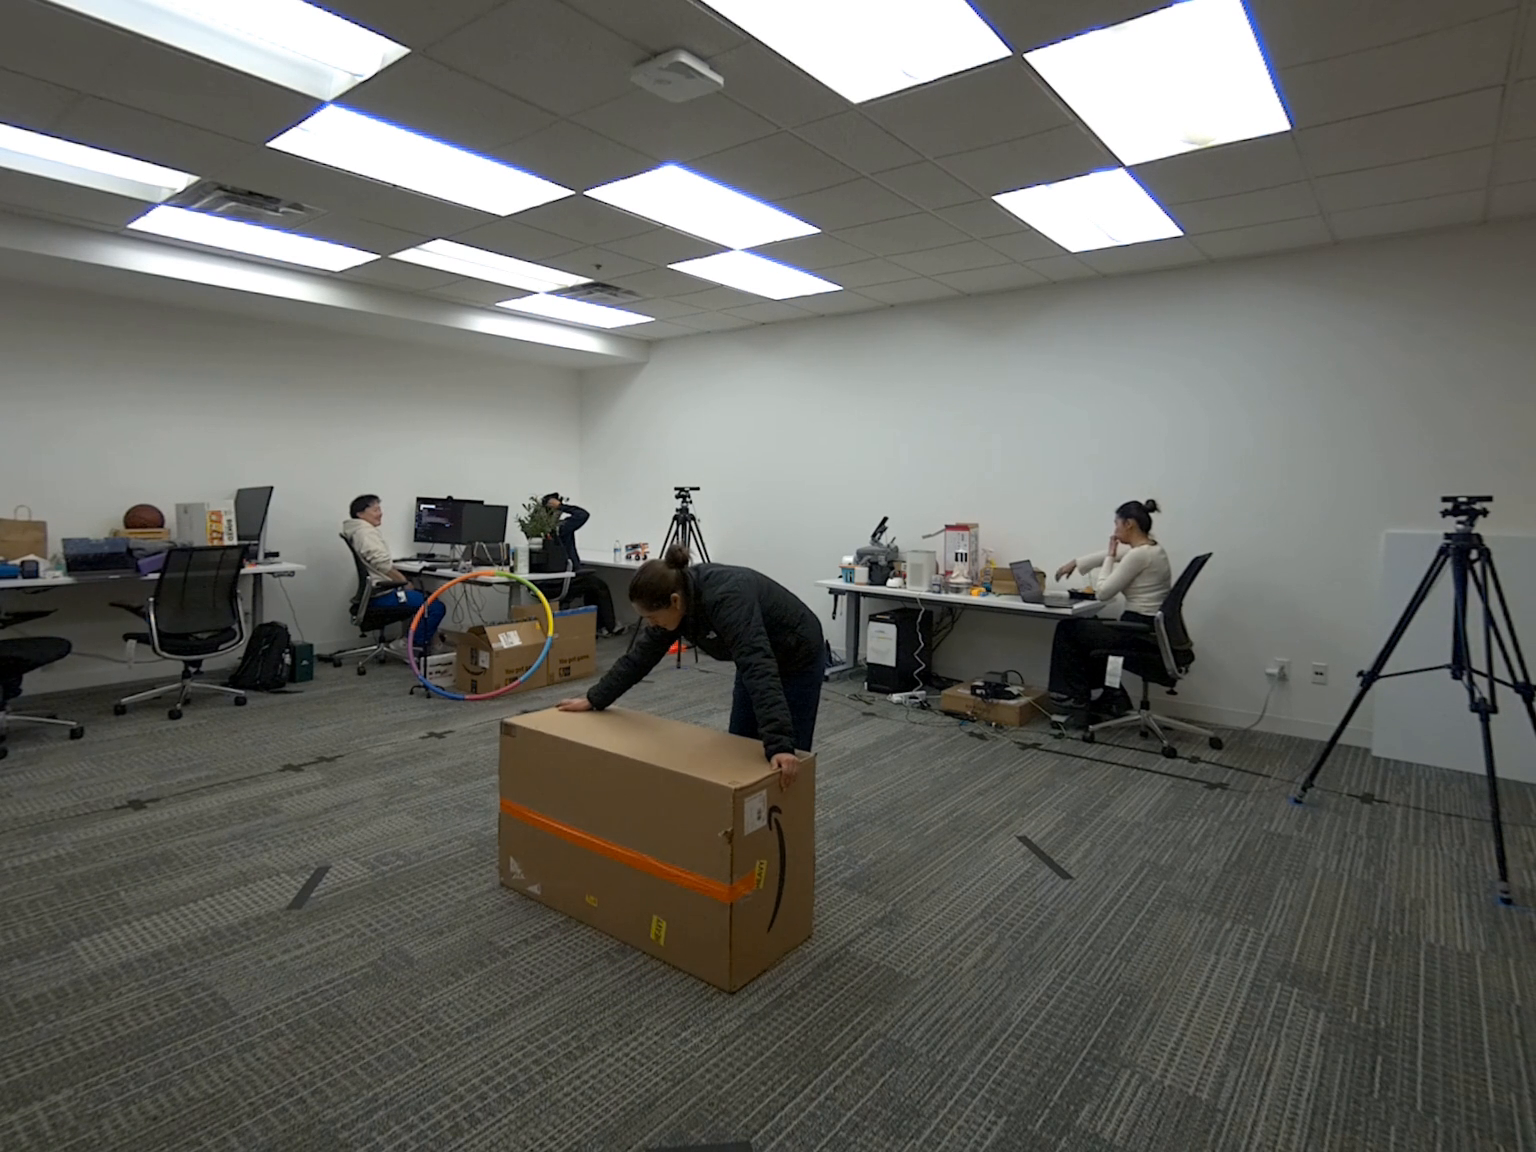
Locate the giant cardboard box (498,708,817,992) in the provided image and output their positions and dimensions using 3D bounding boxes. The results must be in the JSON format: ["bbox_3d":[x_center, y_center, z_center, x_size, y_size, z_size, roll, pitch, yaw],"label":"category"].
[{"bbox_3d":[-0.383,0.807,2.807,1.061,0.583,0.433,4,3,38],"label":"giant cardboard box"}]
